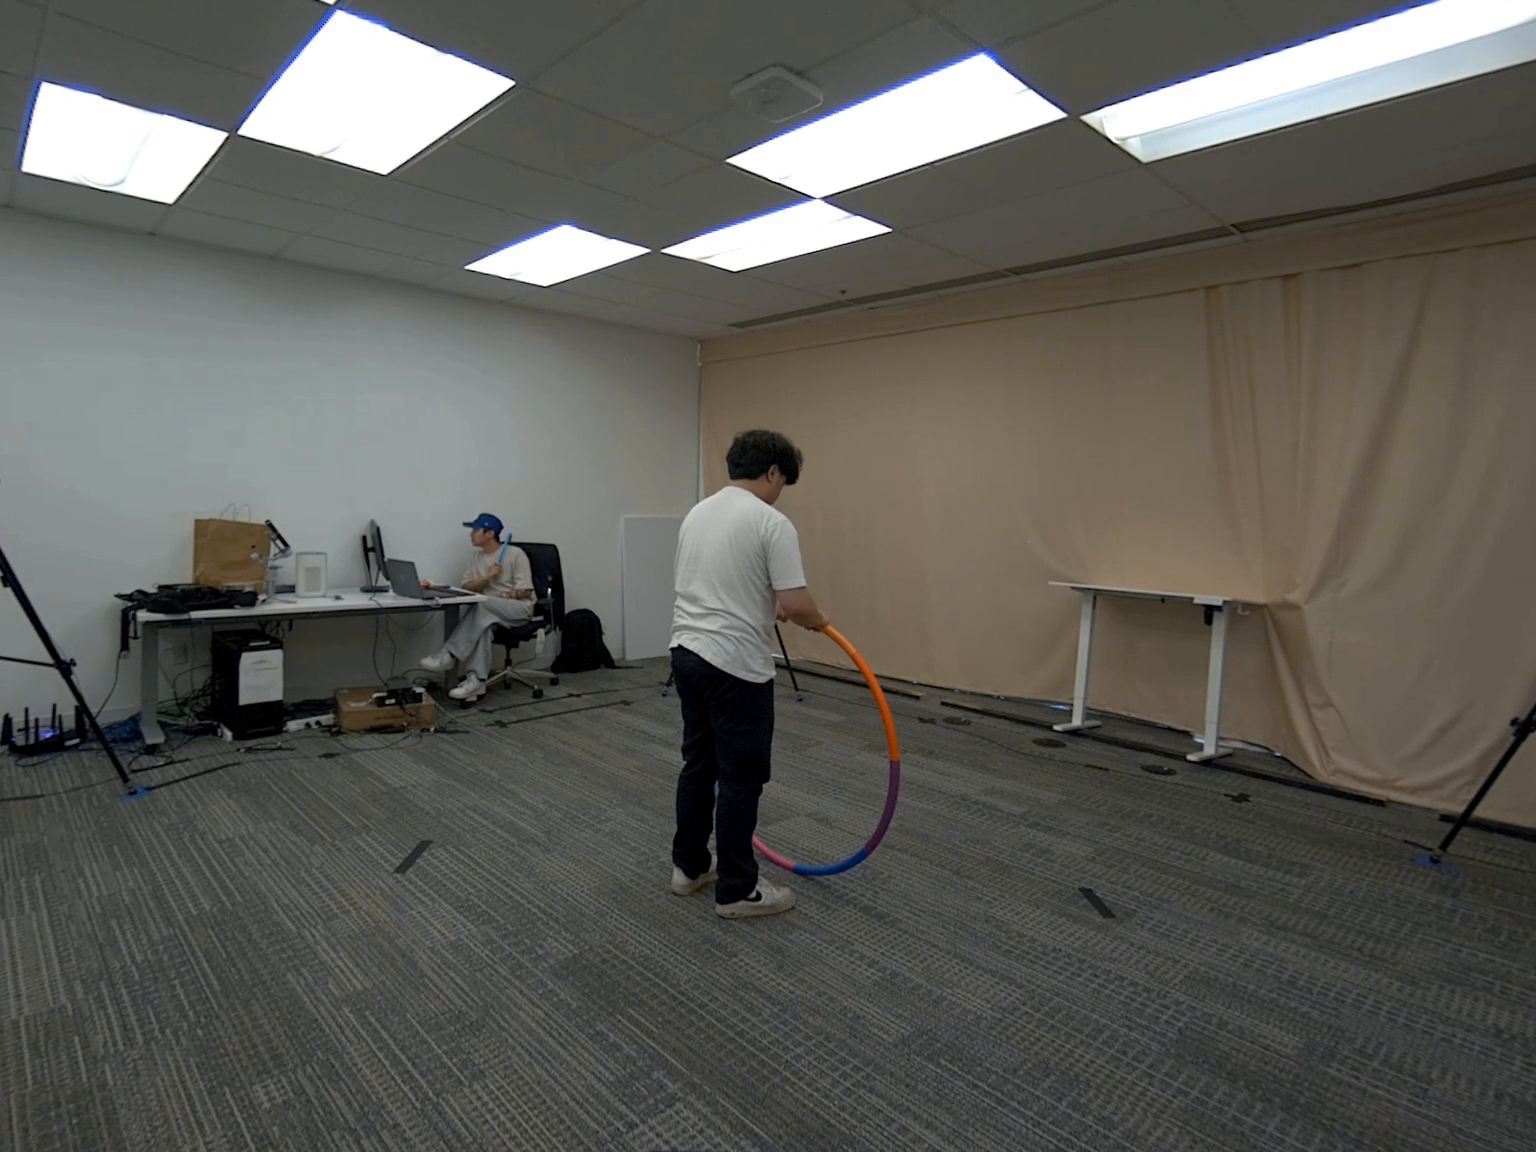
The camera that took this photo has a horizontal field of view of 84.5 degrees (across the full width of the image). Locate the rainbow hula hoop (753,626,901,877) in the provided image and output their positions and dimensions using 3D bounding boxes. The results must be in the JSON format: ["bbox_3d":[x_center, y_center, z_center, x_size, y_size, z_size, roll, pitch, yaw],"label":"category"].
[{"bbox_3d":[0.069,0.617,3.147,0.050,0.982,1.011,-3,6,-44],"label":"rainbow hula hoop"}]
